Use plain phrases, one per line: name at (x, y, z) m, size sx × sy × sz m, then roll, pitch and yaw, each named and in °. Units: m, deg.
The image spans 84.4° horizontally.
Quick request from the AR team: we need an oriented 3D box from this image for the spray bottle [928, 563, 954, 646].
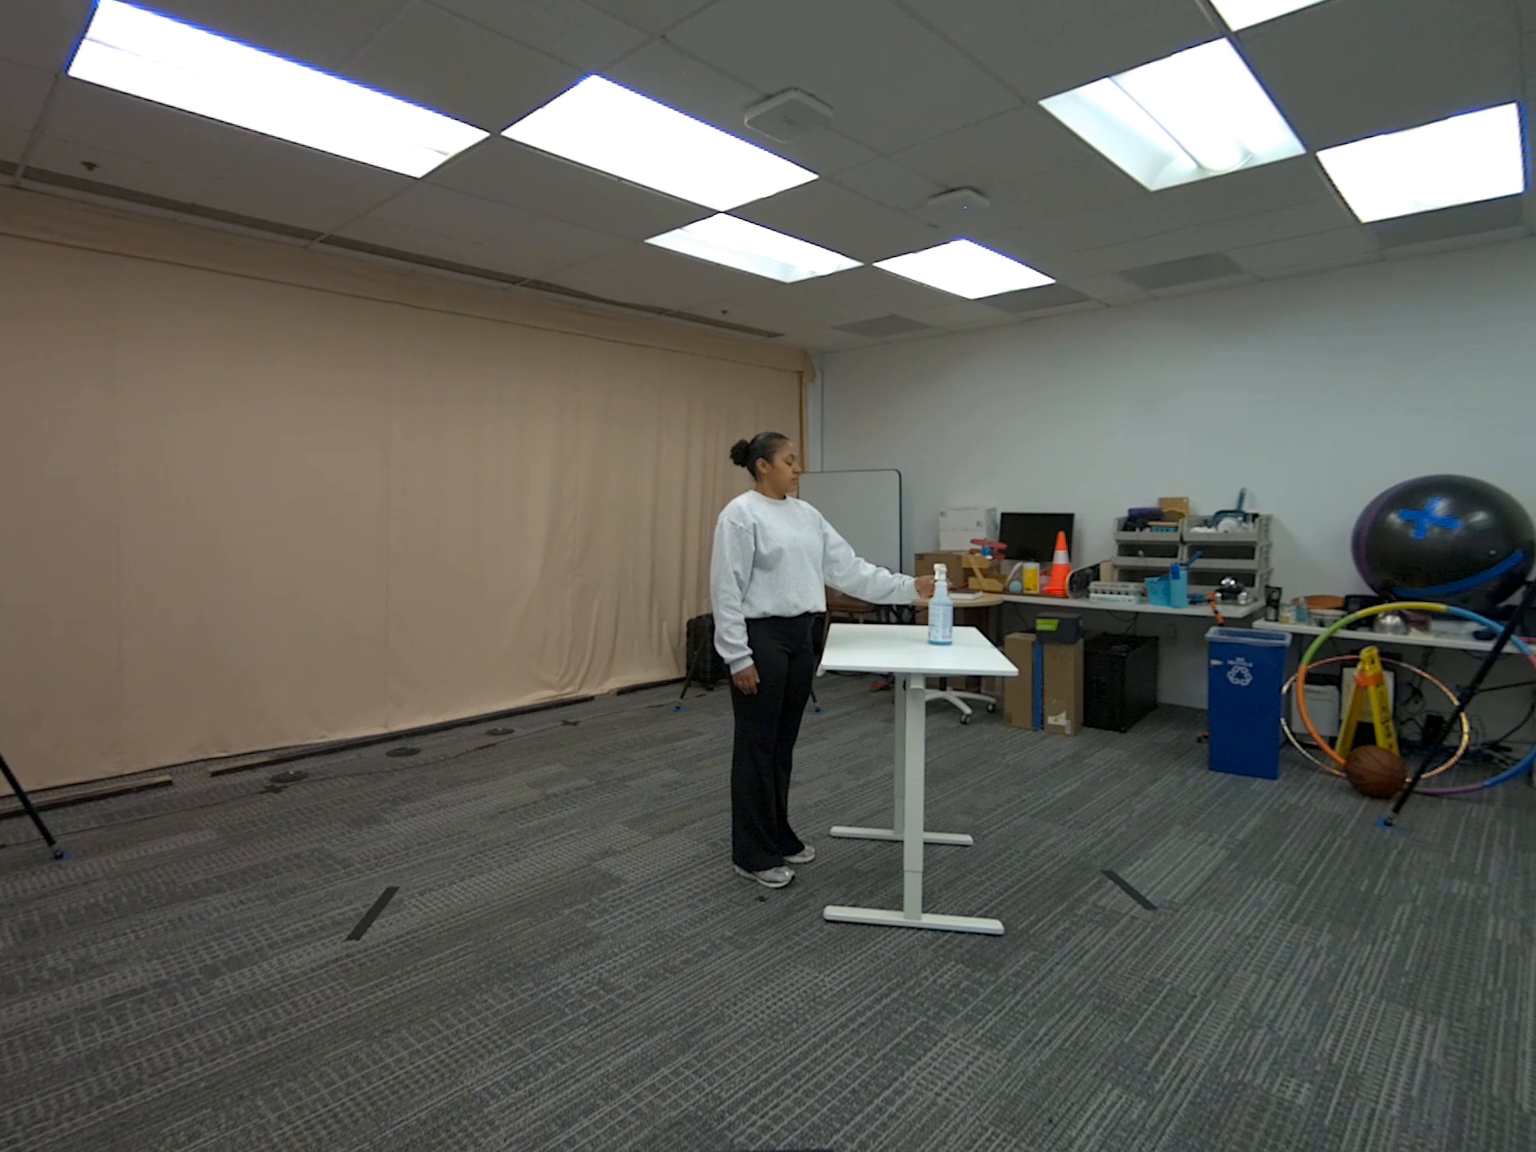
spray bottle at (0.642, 0.107, 3.086) m, size 0.087 × 0.296 × 0.089 m, roll -1°, pitch 5°, yaw -30°
